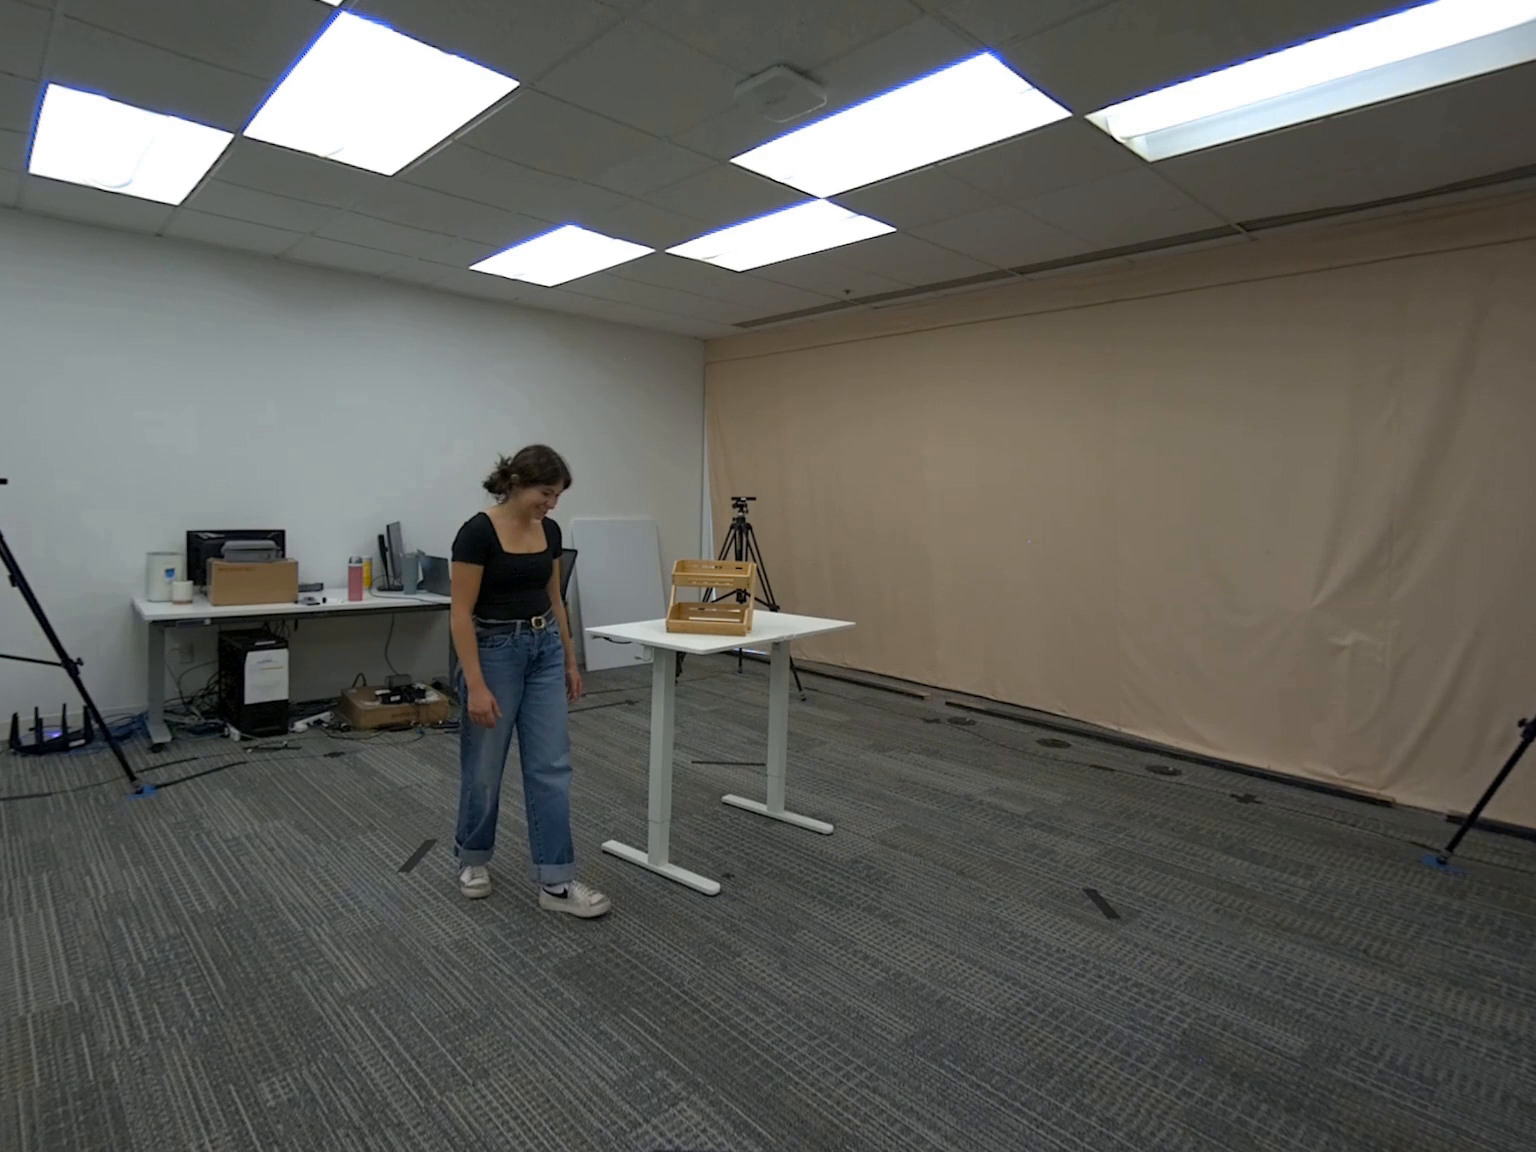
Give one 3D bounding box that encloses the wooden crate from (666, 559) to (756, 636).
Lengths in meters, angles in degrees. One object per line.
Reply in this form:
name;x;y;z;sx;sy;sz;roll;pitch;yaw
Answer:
wooden crate;-0.231;0.079;3.264;0.326;0.273;0.301;3;4;5
